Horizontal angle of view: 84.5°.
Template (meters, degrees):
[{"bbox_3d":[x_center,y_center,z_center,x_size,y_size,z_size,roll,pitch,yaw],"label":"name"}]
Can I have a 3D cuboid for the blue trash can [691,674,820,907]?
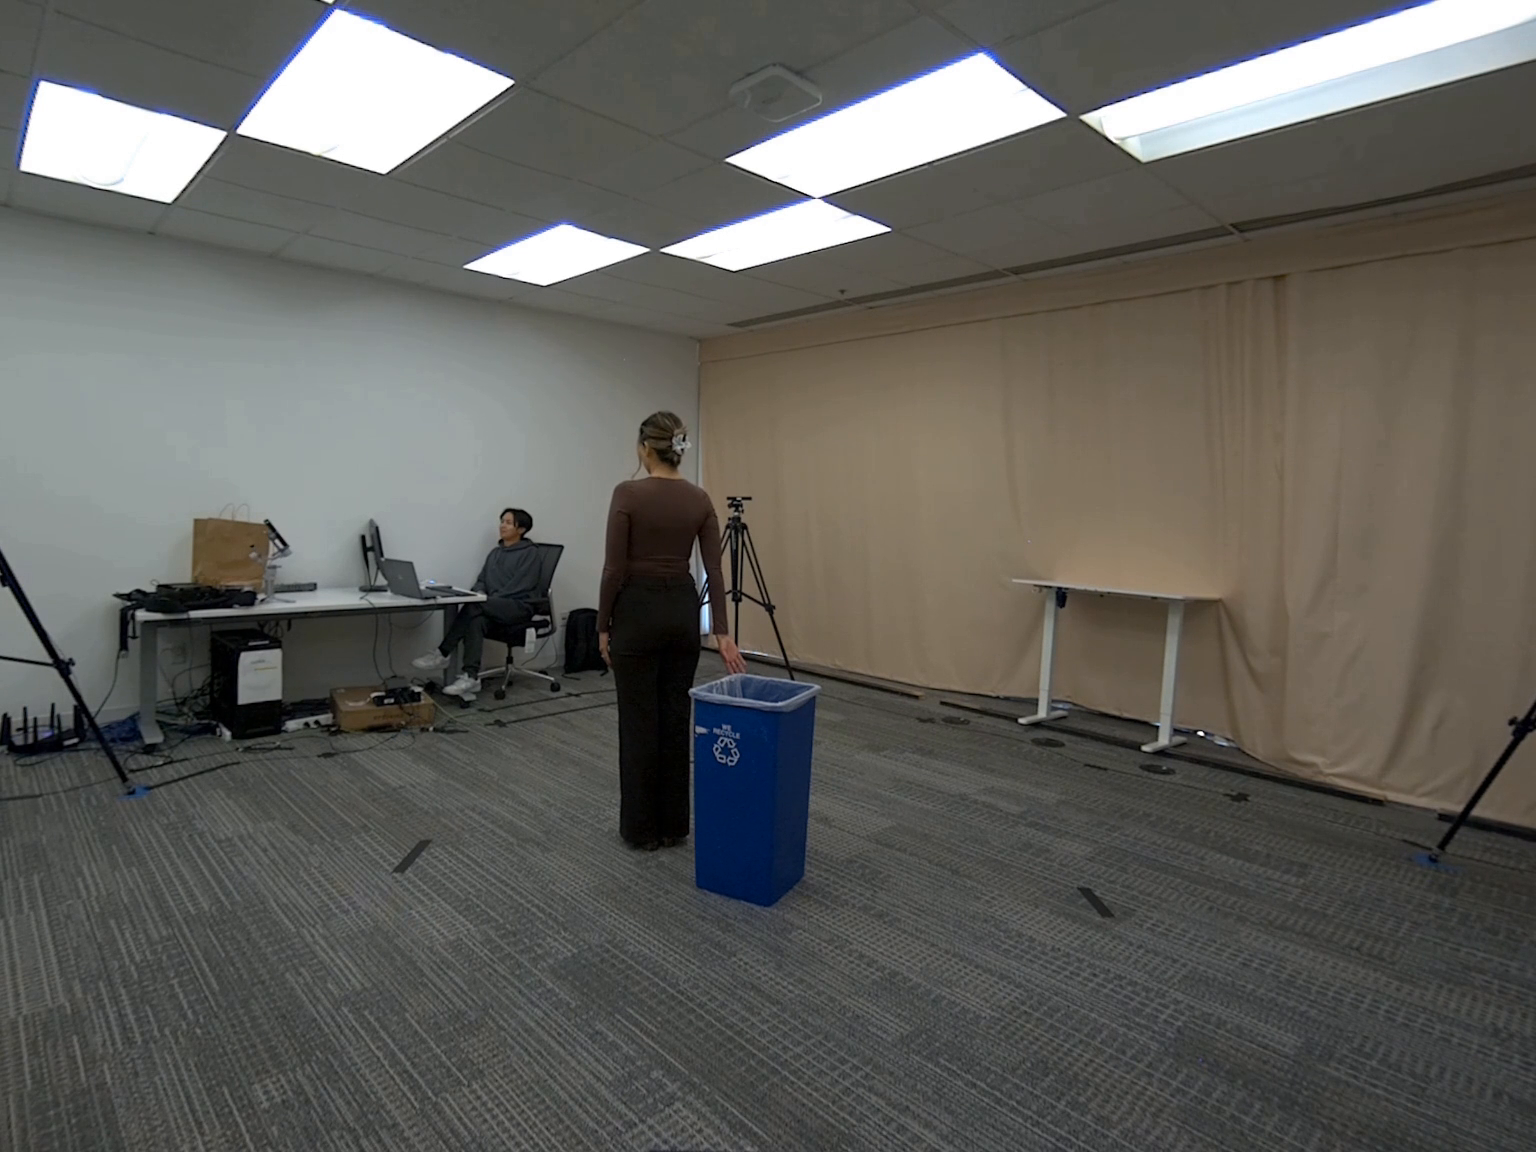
[{"bbox_3d":[-0.062,0.754,3.047,0.386,0.711,0.367,3,5,27],"label":"blue trash can"}]
